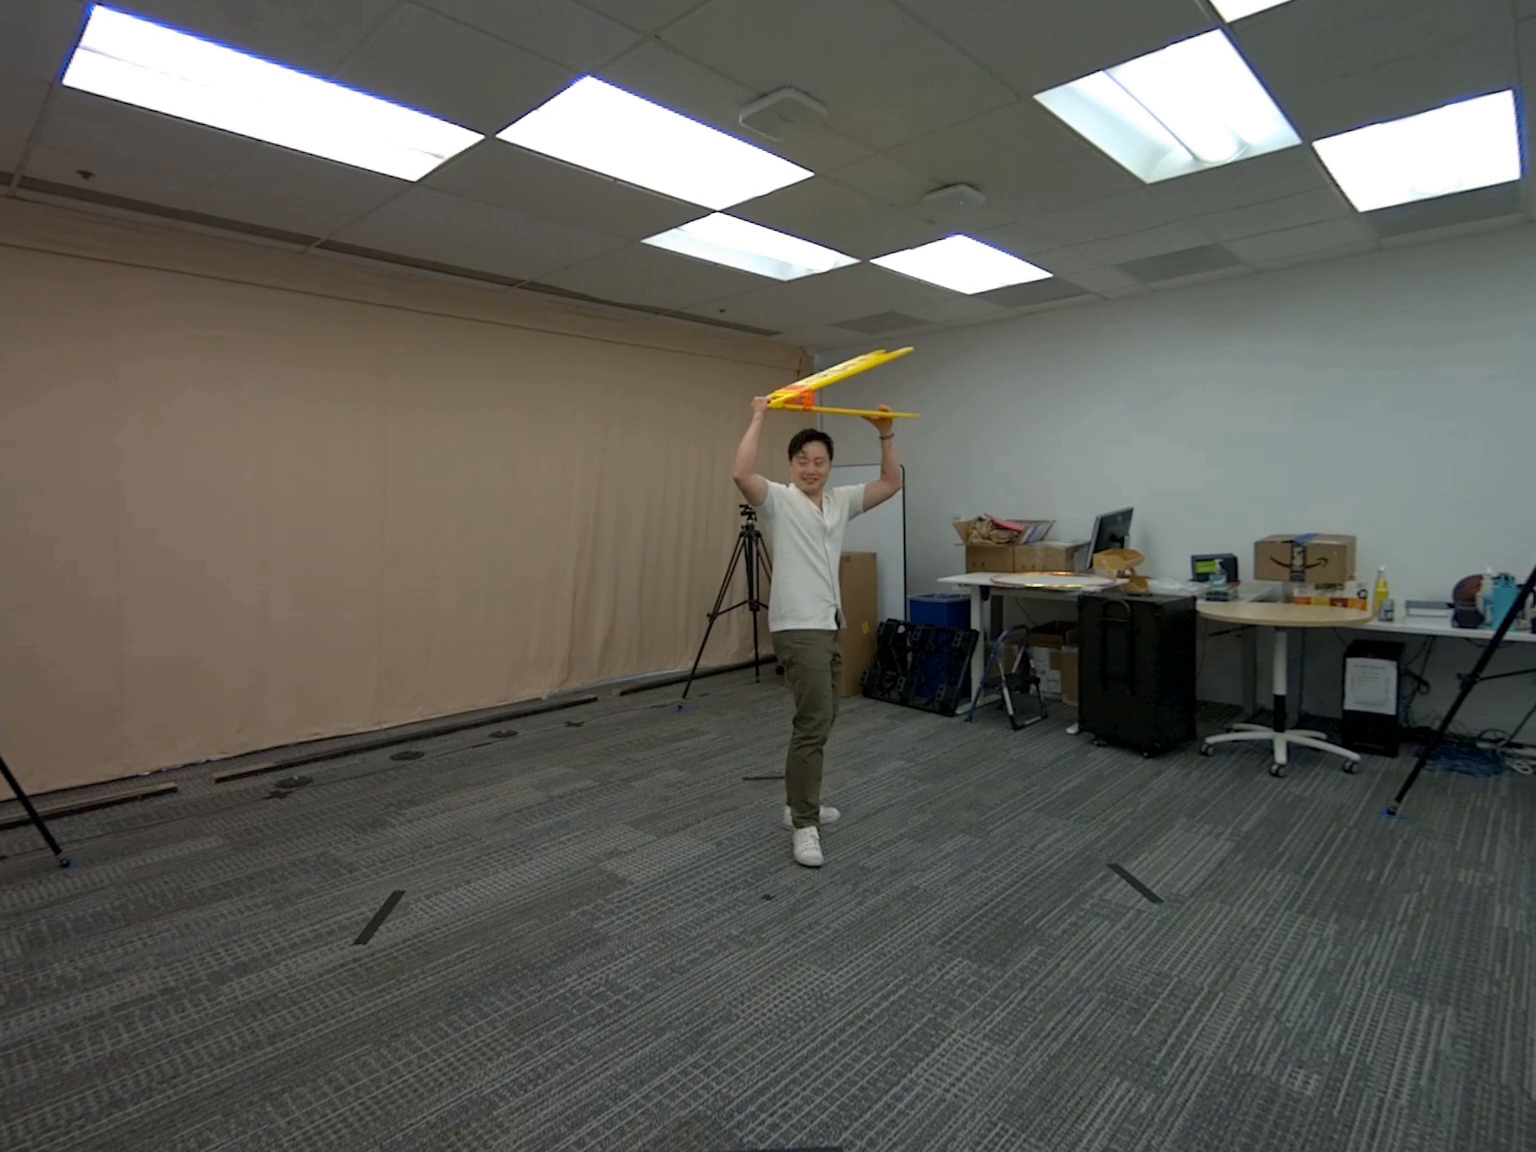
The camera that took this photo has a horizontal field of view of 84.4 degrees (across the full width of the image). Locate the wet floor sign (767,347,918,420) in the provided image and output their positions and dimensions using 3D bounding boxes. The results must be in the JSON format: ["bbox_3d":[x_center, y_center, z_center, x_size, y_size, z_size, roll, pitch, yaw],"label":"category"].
[{"bbox_3d":[0.268,-0.746,3.453,0.635,0.287,0.290,-13,15,-21],"label":"wet floor sign"}]
